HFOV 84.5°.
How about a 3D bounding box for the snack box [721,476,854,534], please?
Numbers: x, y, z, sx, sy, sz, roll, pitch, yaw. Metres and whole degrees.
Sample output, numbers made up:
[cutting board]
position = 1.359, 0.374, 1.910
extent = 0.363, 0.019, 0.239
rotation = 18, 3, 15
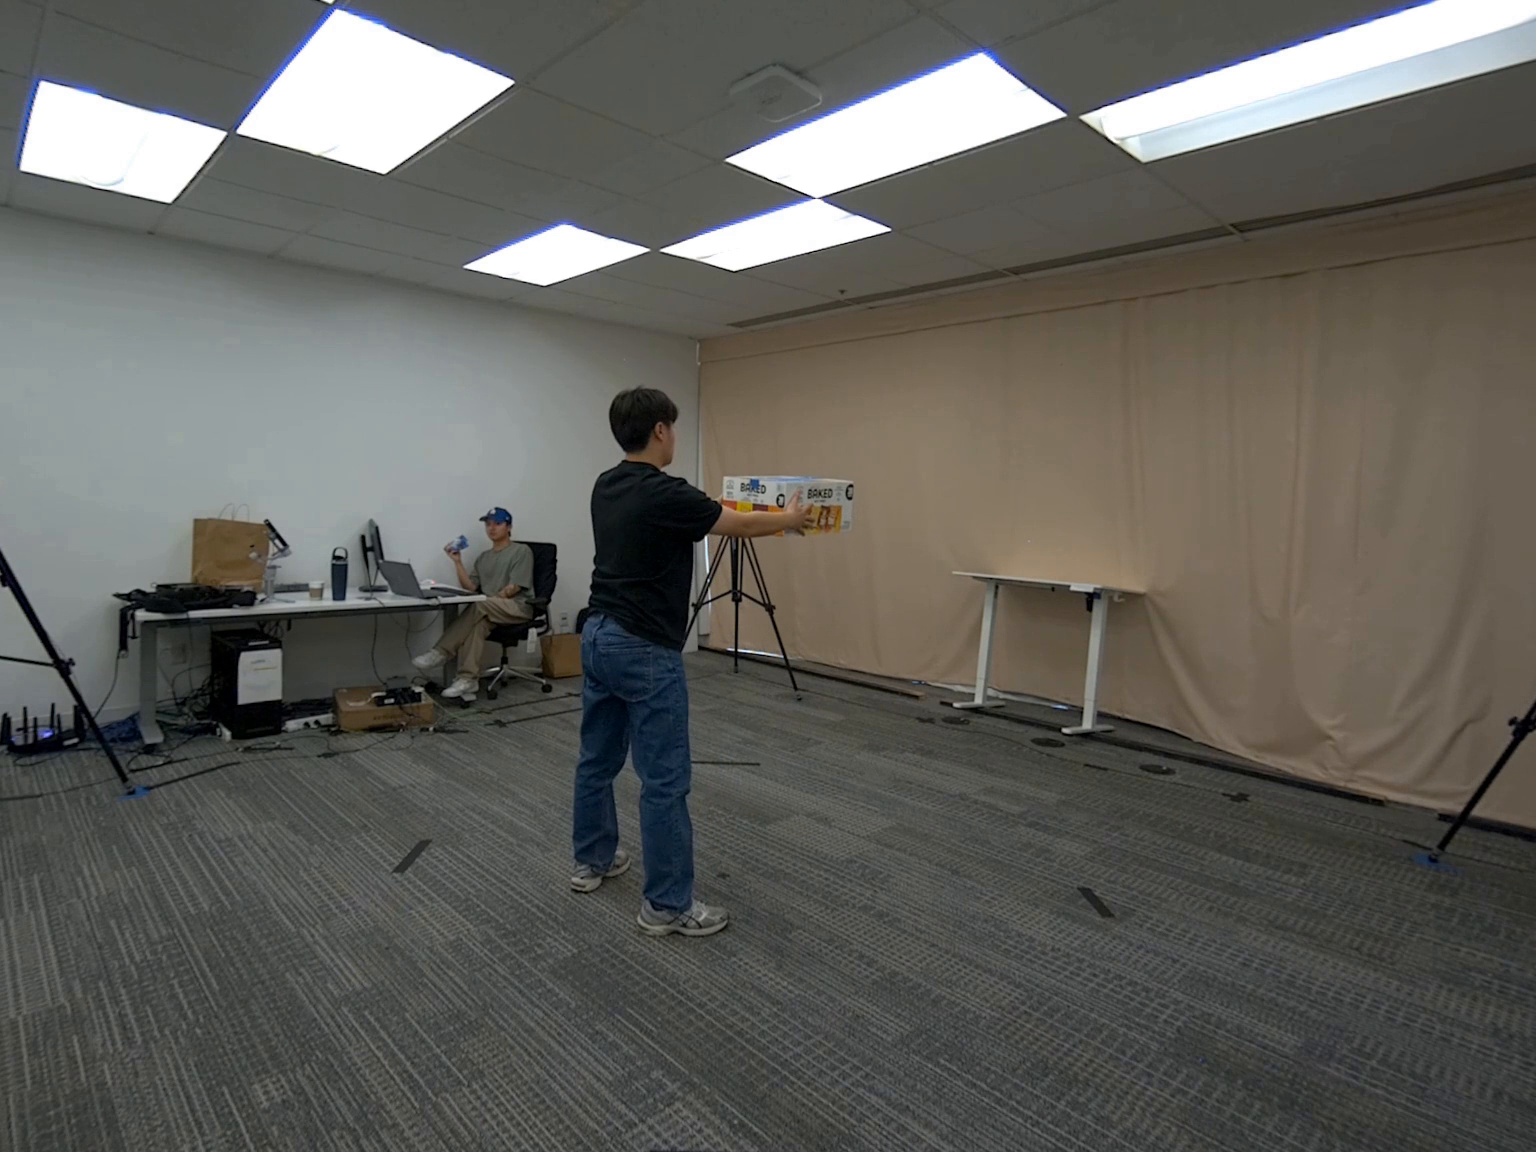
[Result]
[snack box]
position = 0.075, -0.283, 3.354
extent = 0.350, 0.204, 0.396
rotation = 12, 12, 43
